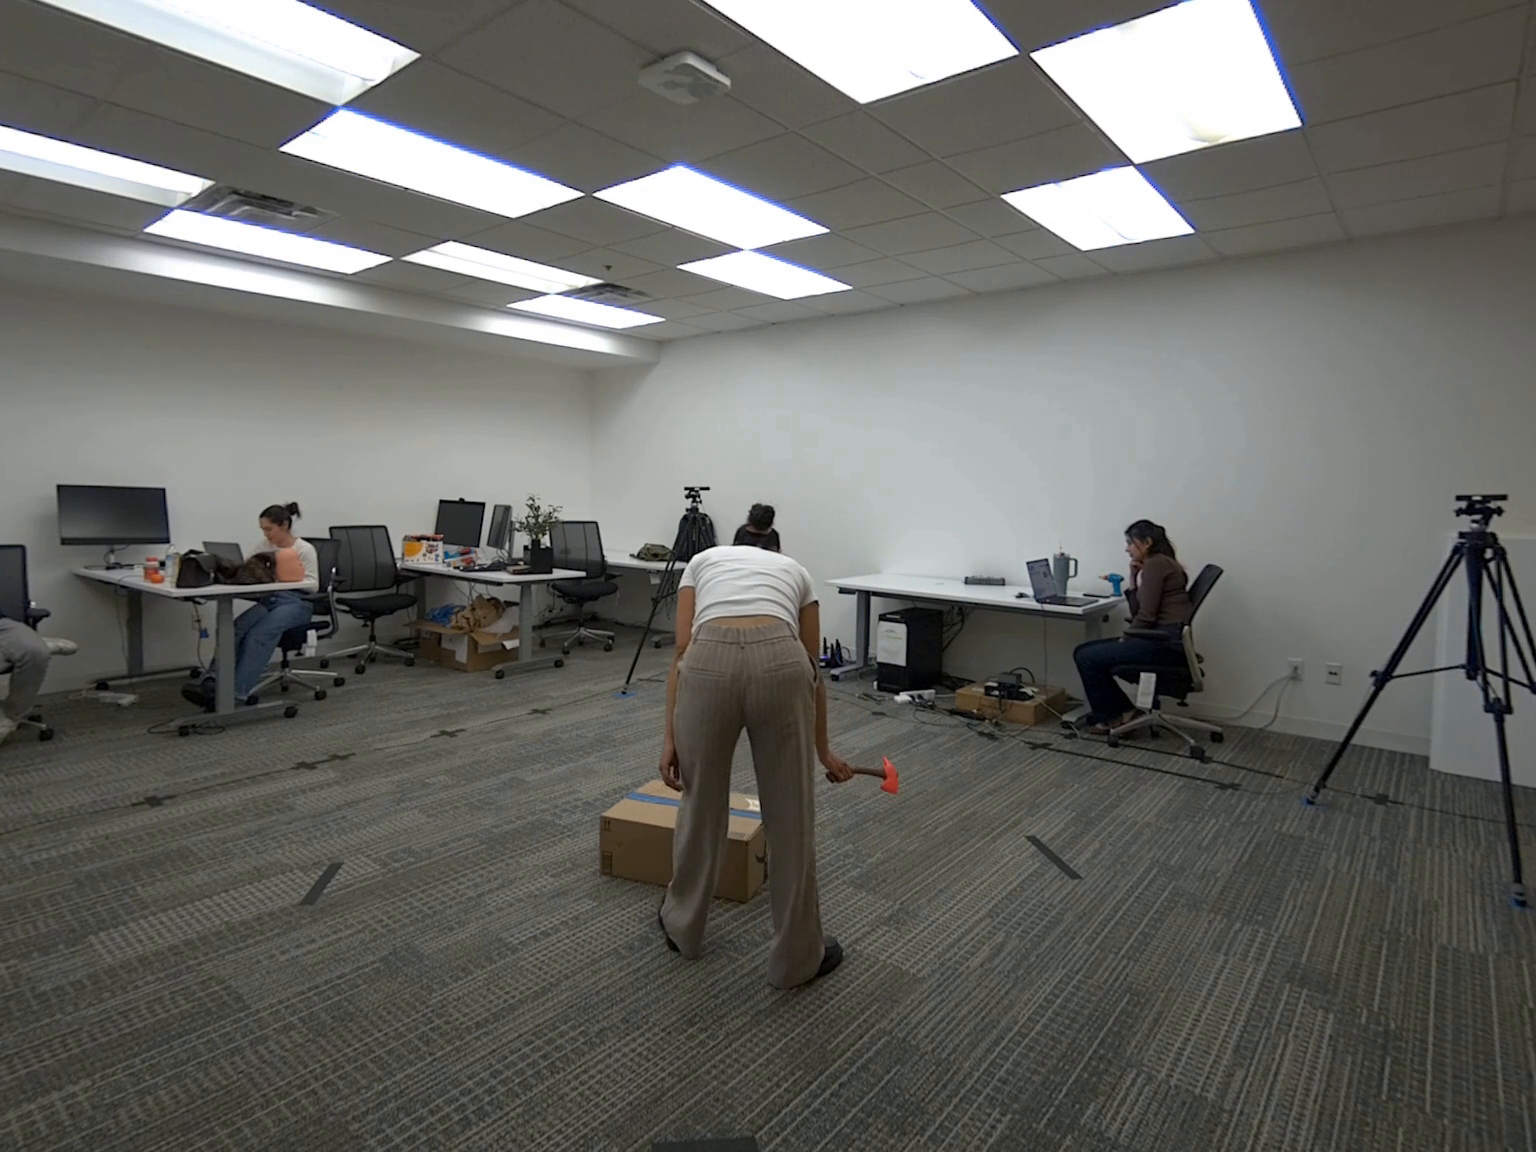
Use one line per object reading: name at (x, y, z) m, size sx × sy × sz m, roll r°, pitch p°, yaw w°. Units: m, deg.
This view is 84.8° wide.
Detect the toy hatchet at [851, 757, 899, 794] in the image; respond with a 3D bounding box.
toy hatchet at (0.298, 0.644, 2.704) m, size 0.263 × 0.029 × 0.136 m, roll -6°, pitch 49°, yaw -34°
